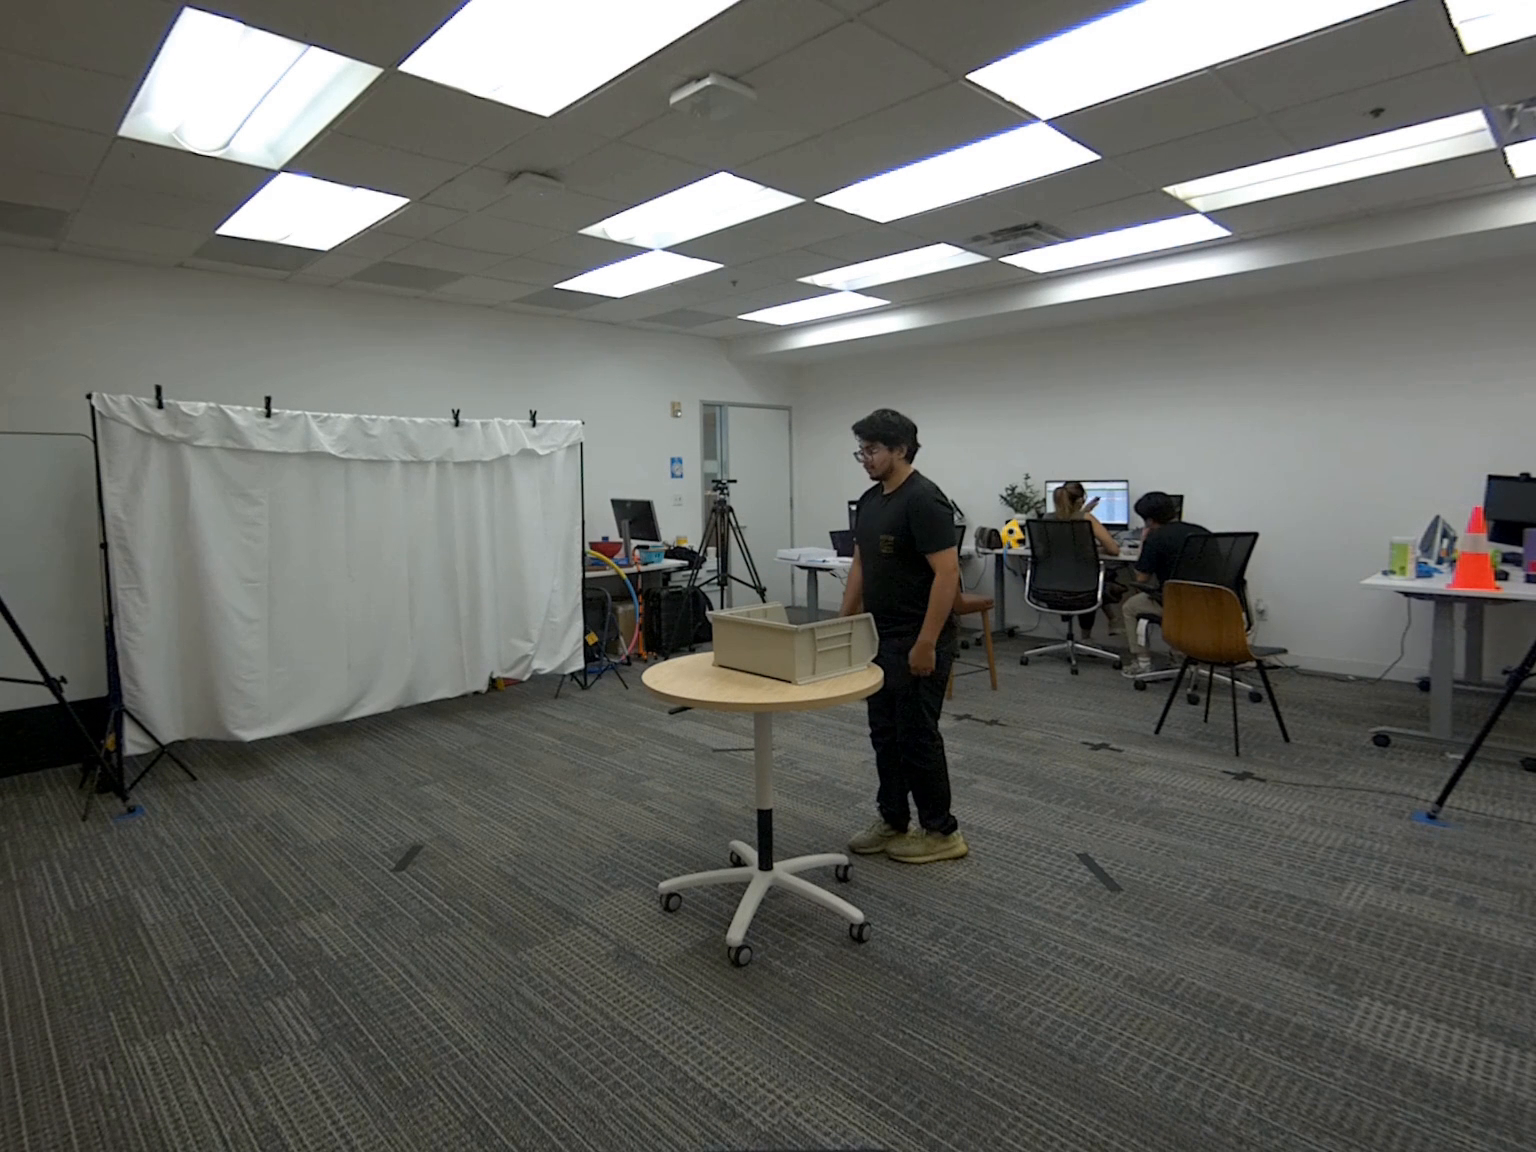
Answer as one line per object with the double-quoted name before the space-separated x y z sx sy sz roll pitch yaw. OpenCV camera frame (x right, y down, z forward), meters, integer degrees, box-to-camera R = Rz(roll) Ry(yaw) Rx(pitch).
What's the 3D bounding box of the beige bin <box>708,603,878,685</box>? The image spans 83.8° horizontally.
"beige bin" 0.079 0.209 2.793 0.368 0.188 0.435 -8 9 -41
